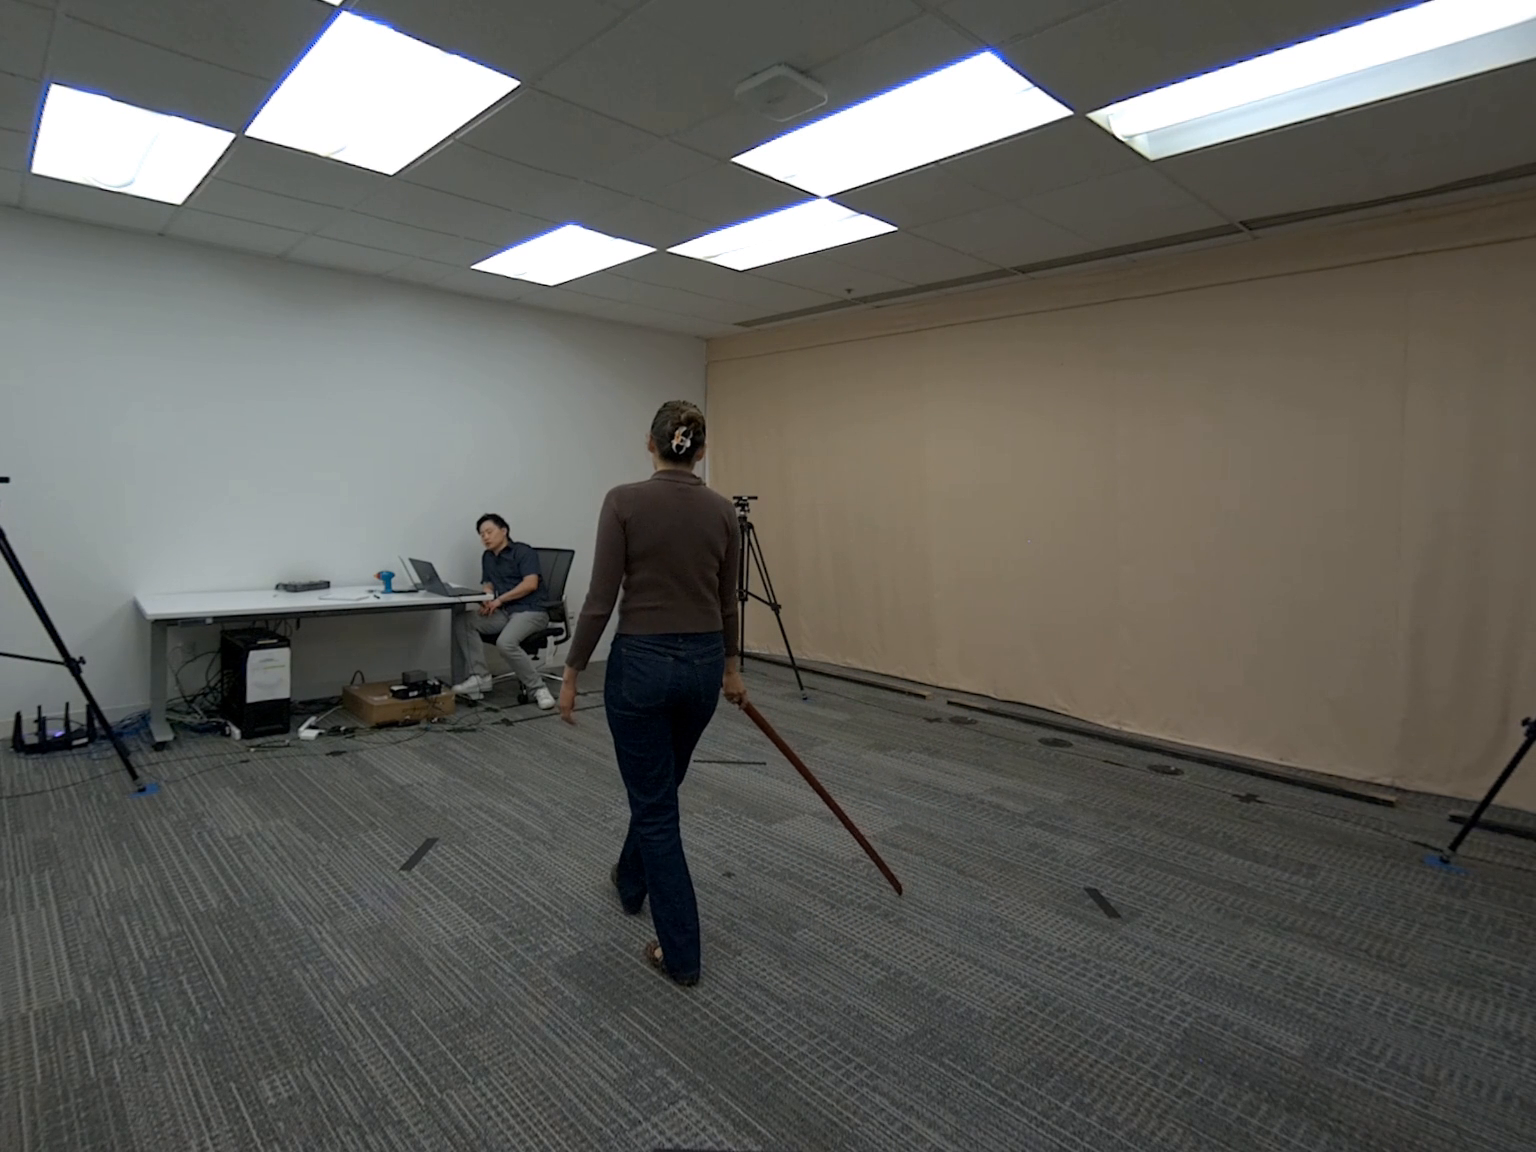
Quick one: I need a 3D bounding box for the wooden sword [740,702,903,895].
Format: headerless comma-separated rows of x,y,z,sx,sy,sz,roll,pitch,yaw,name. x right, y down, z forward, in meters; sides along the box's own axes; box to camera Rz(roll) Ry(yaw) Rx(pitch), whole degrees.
0.170,0.727,2.897,0.024,1.014,0.051,-28,13,41,wooden sword
